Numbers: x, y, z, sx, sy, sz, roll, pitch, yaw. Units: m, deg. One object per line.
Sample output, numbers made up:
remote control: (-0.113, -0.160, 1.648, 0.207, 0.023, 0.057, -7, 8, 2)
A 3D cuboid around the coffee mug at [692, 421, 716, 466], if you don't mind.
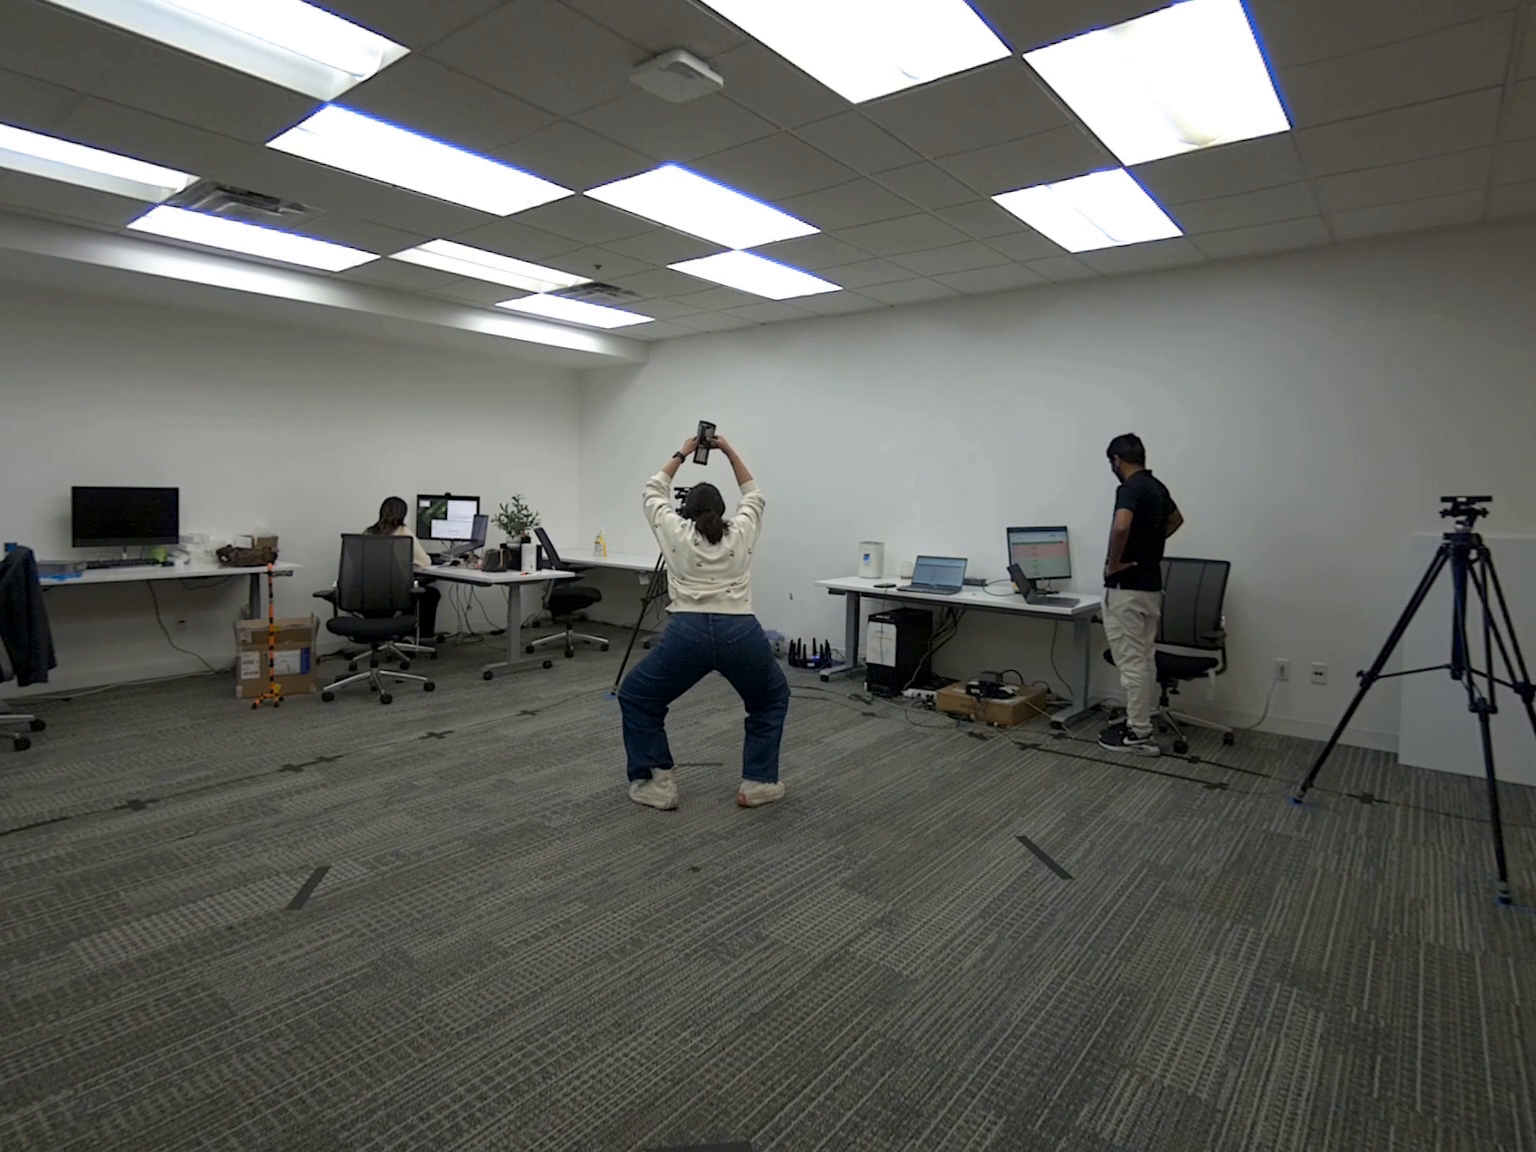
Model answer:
coffee mug: (-0.337, -0.648, 4.123, 0.085, 0.202, 0.126, 10, 6, -27)
